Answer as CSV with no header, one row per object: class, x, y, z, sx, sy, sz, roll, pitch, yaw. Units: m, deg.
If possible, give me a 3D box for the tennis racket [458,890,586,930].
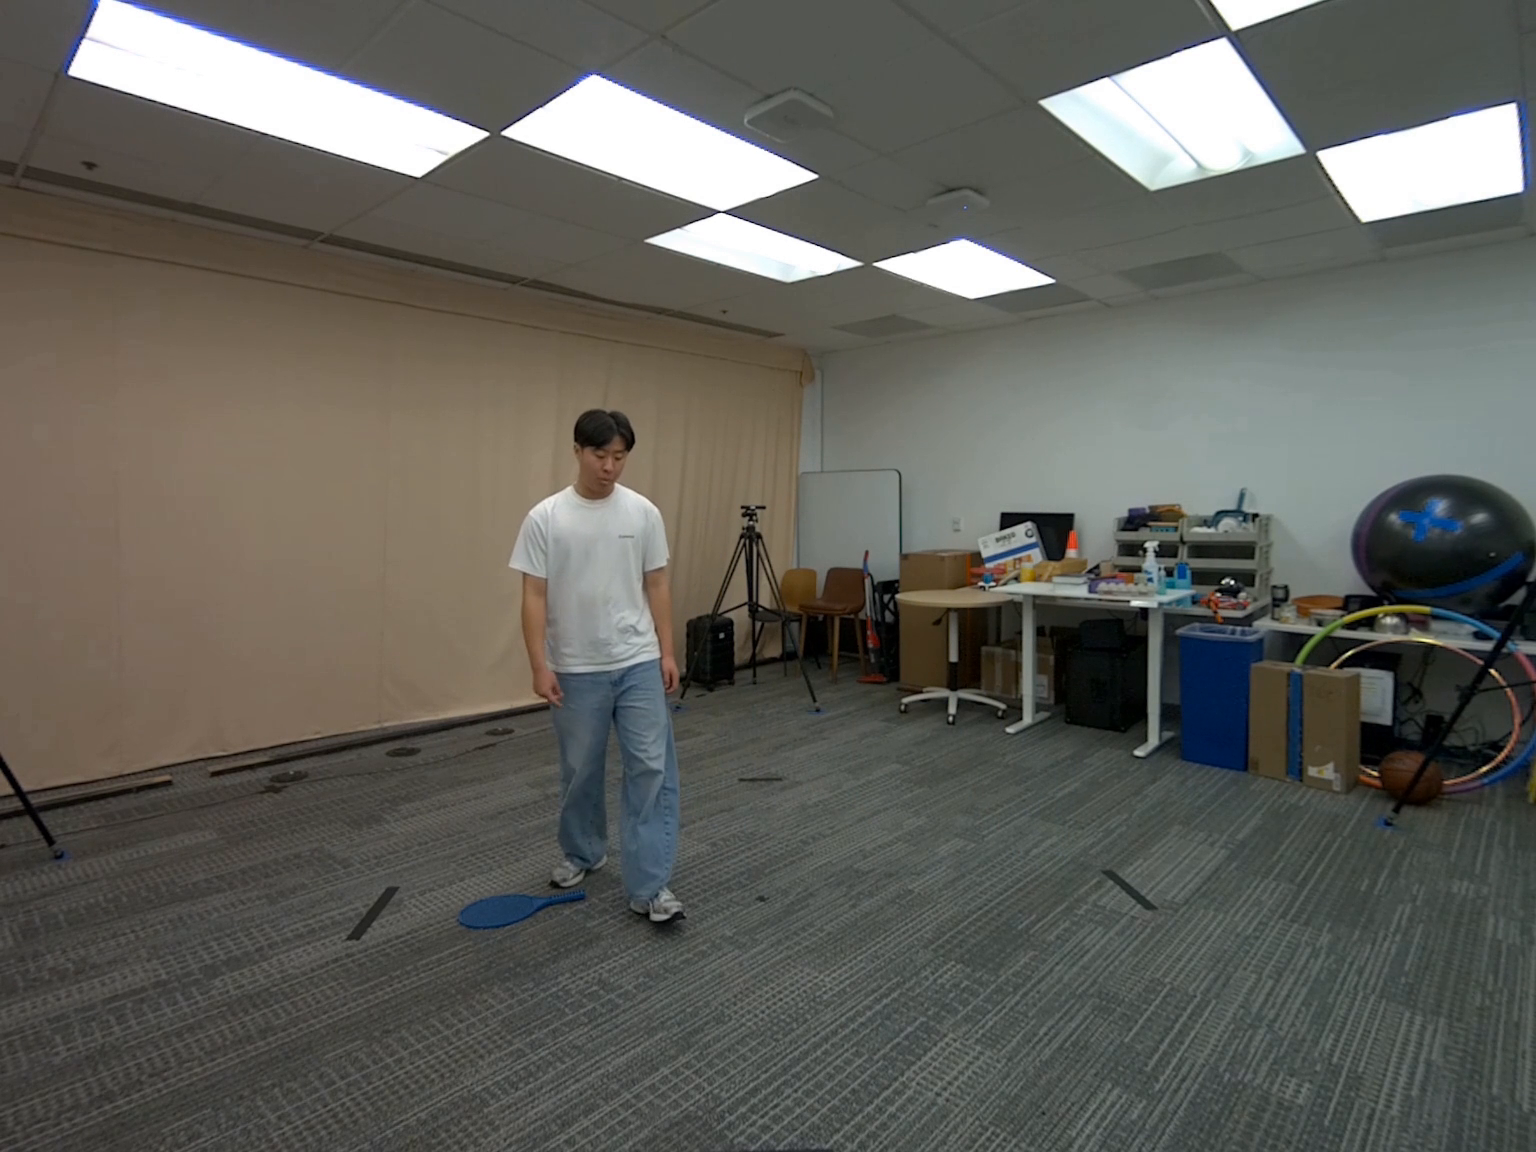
tennis racket,-0.853,1.142,2.921,0.424,0.032,0.218,-3,5,-20
